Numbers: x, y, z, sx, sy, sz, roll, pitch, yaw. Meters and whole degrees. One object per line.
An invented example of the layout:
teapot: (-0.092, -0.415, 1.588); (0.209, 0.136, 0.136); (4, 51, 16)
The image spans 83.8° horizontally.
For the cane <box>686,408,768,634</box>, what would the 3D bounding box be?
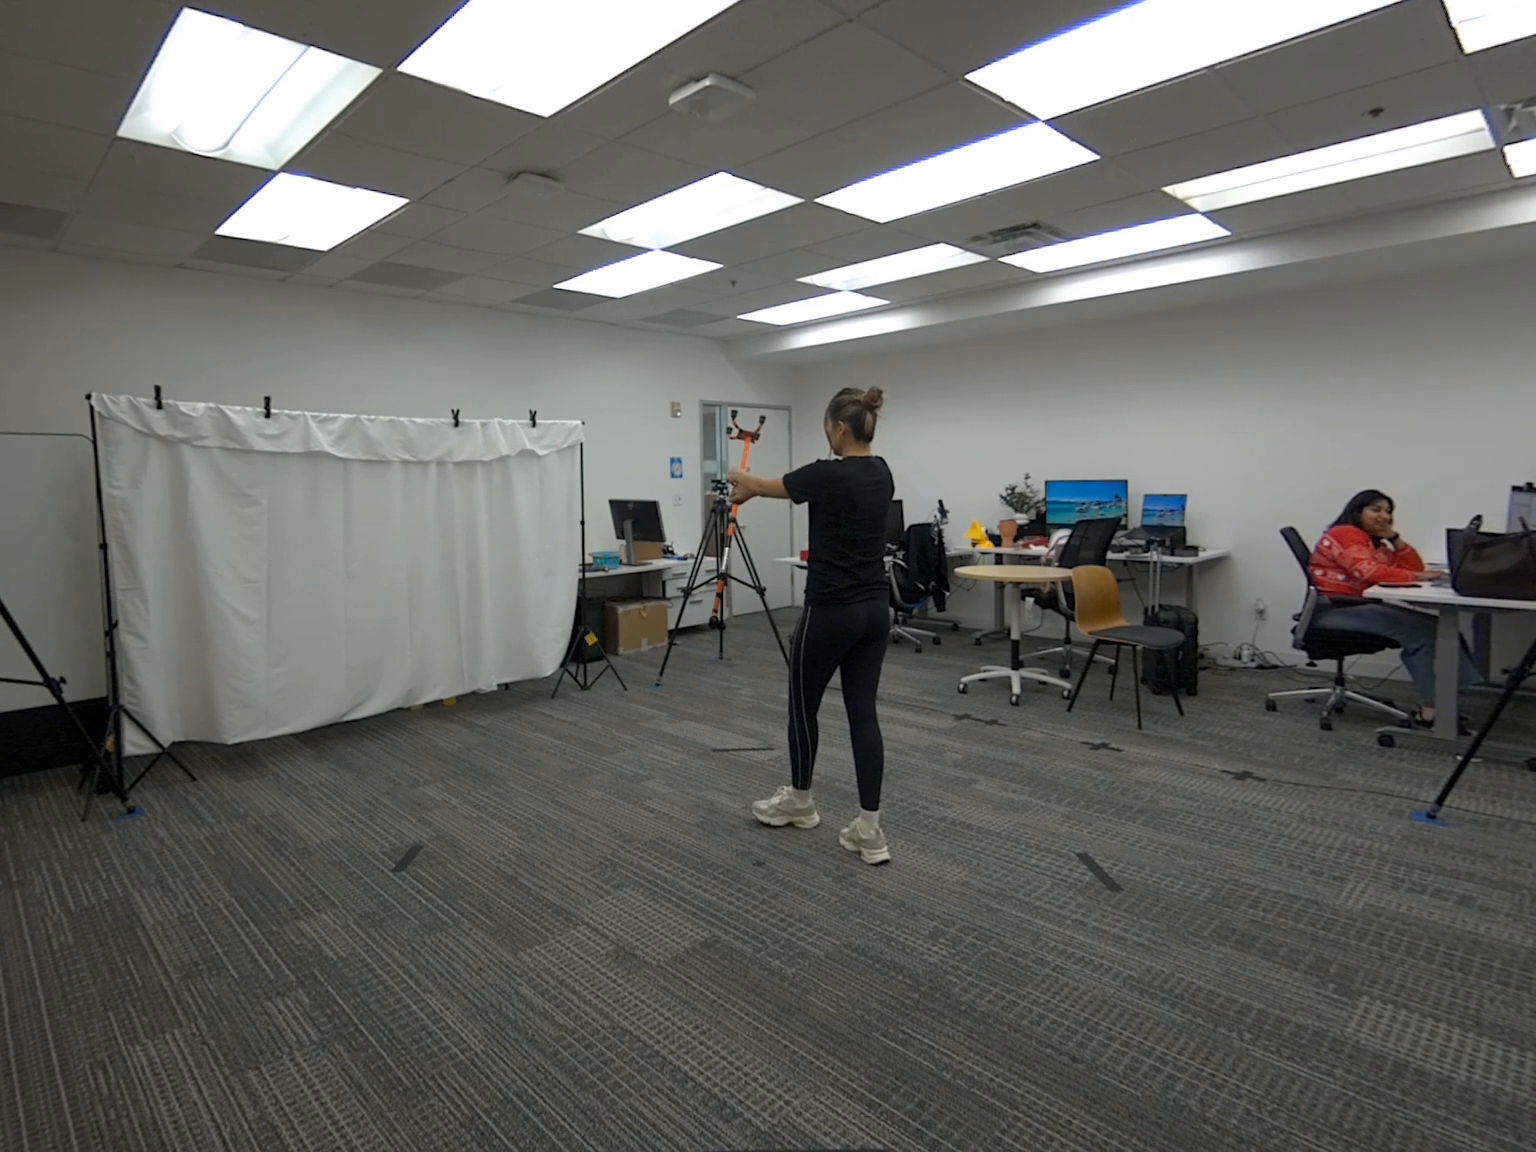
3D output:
cane: (-0.170, -0.238, 3.561); (0.151, 0.920, 0.204); (12, -18, -4)
